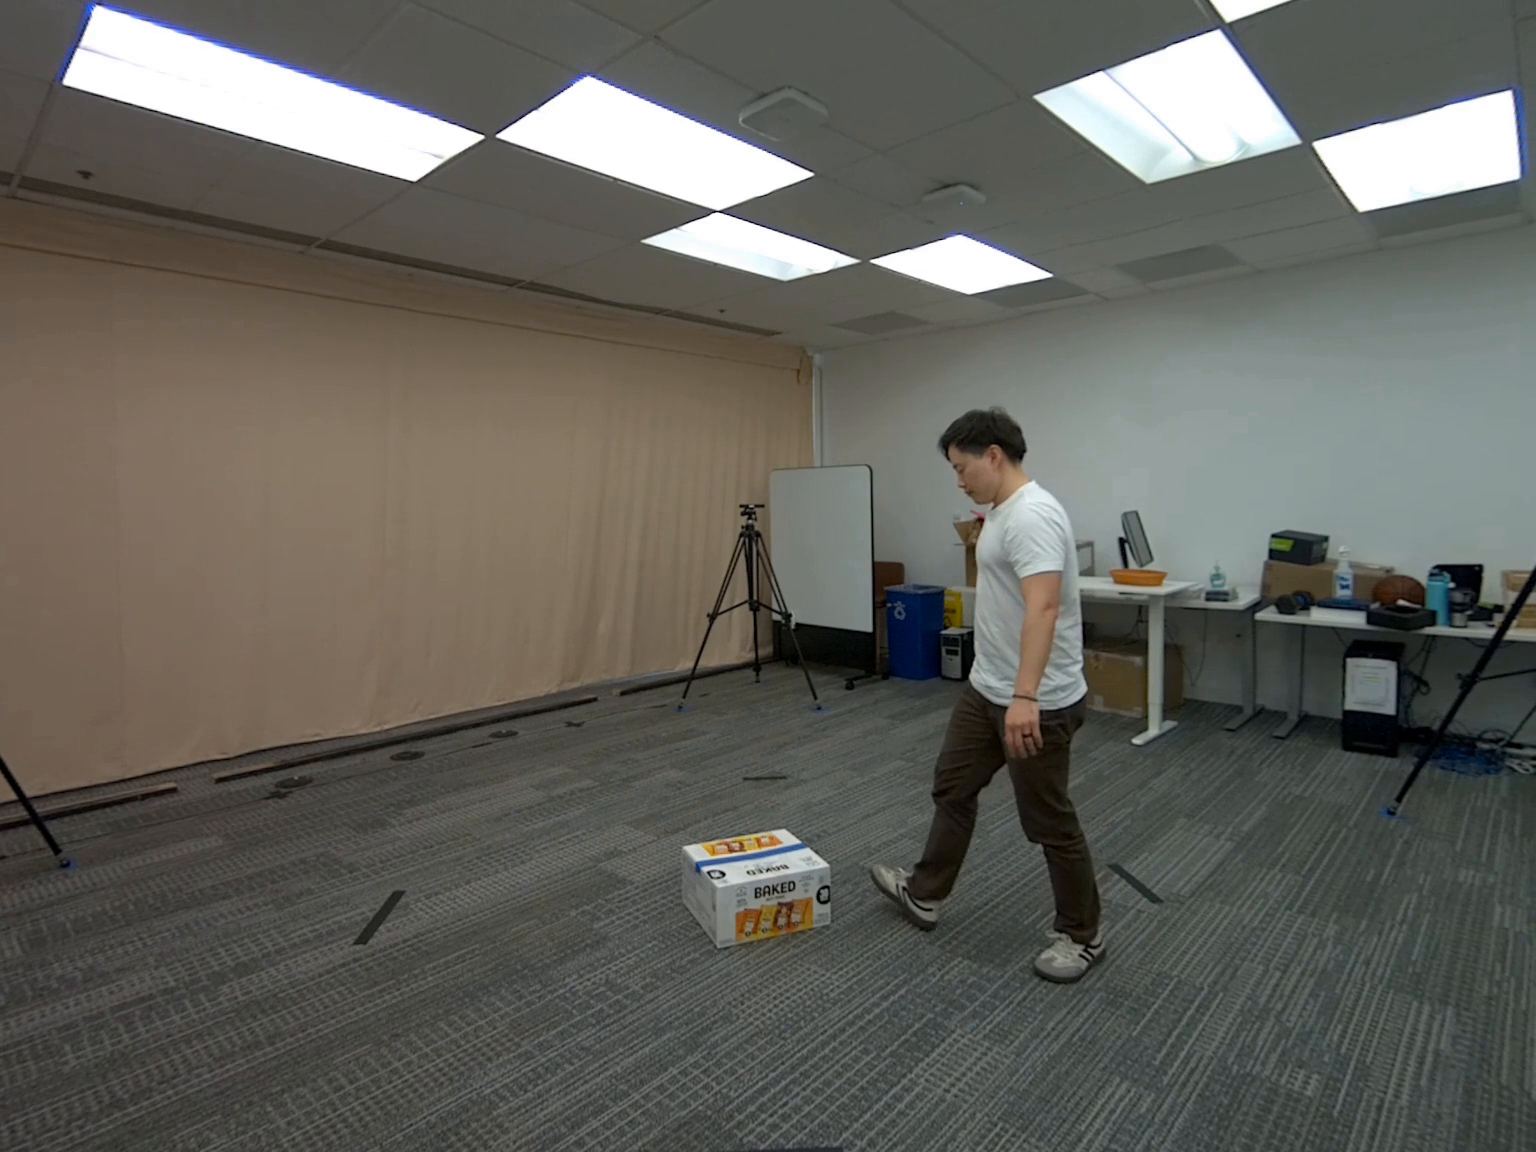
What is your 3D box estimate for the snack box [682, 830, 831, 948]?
[{"bbox_3d":[-0.042,1.050,2.857,0.396,0.205,0.349,-3,5,-23],"label":"snack box"}]
